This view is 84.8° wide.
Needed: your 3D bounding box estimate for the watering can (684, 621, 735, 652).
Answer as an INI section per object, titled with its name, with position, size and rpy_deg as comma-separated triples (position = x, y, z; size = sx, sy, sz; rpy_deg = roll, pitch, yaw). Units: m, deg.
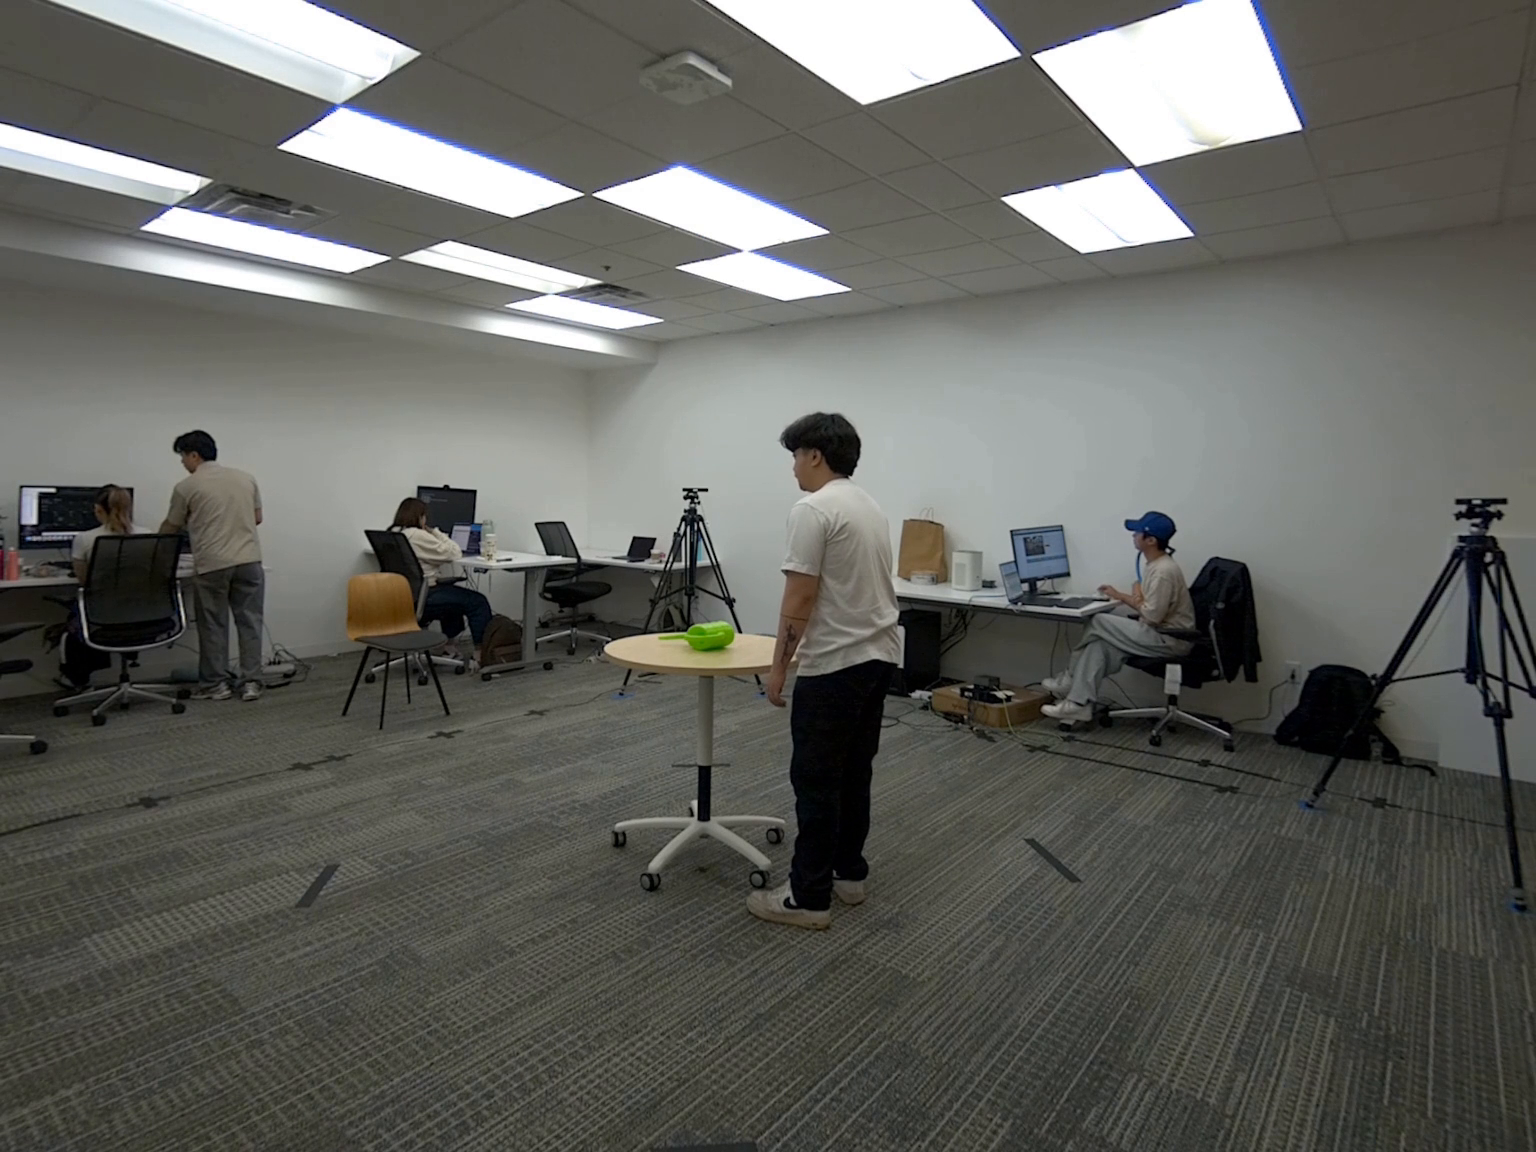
[watering can]
position = -0.272, 0.214, 3.201
size = 0.289, 0.097, 0.171
rpy_deg = 13, 11, 44
